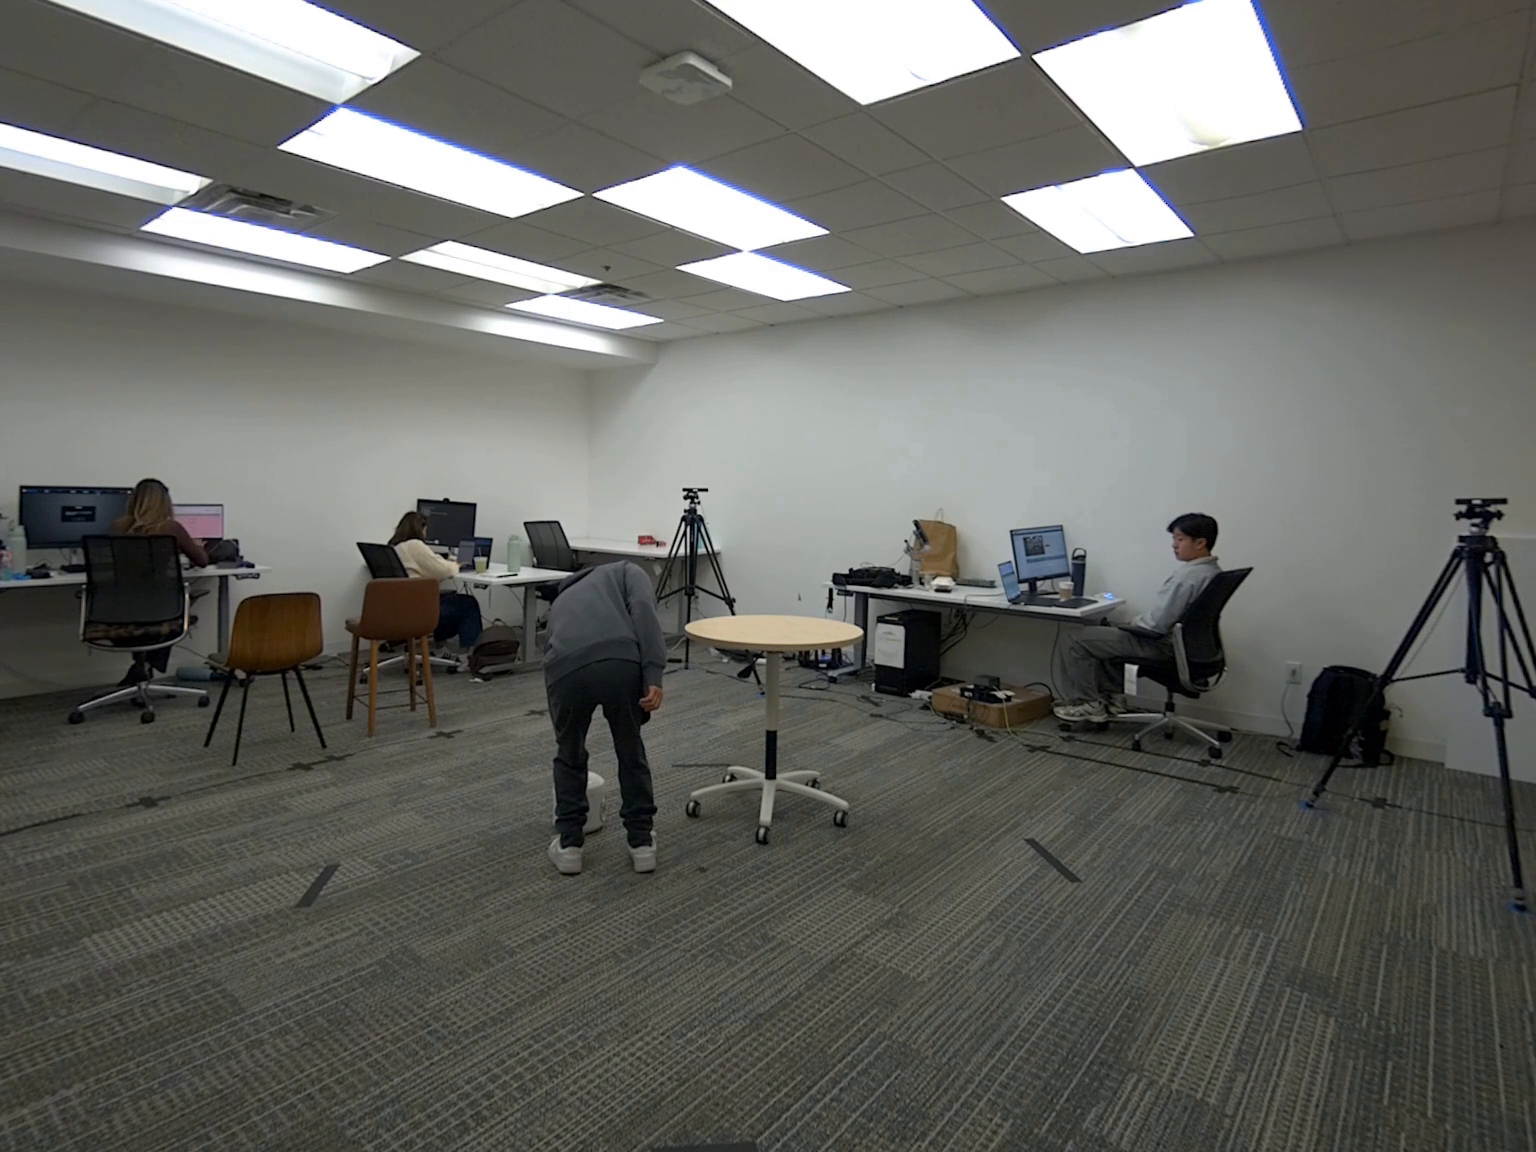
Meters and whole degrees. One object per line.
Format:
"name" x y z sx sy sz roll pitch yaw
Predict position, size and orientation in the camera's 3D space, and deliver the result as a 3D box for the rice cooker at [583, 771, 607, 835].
"rice cooker" -0.776 0.905 3.477 0.221 0.232 0.218 2 4 13
